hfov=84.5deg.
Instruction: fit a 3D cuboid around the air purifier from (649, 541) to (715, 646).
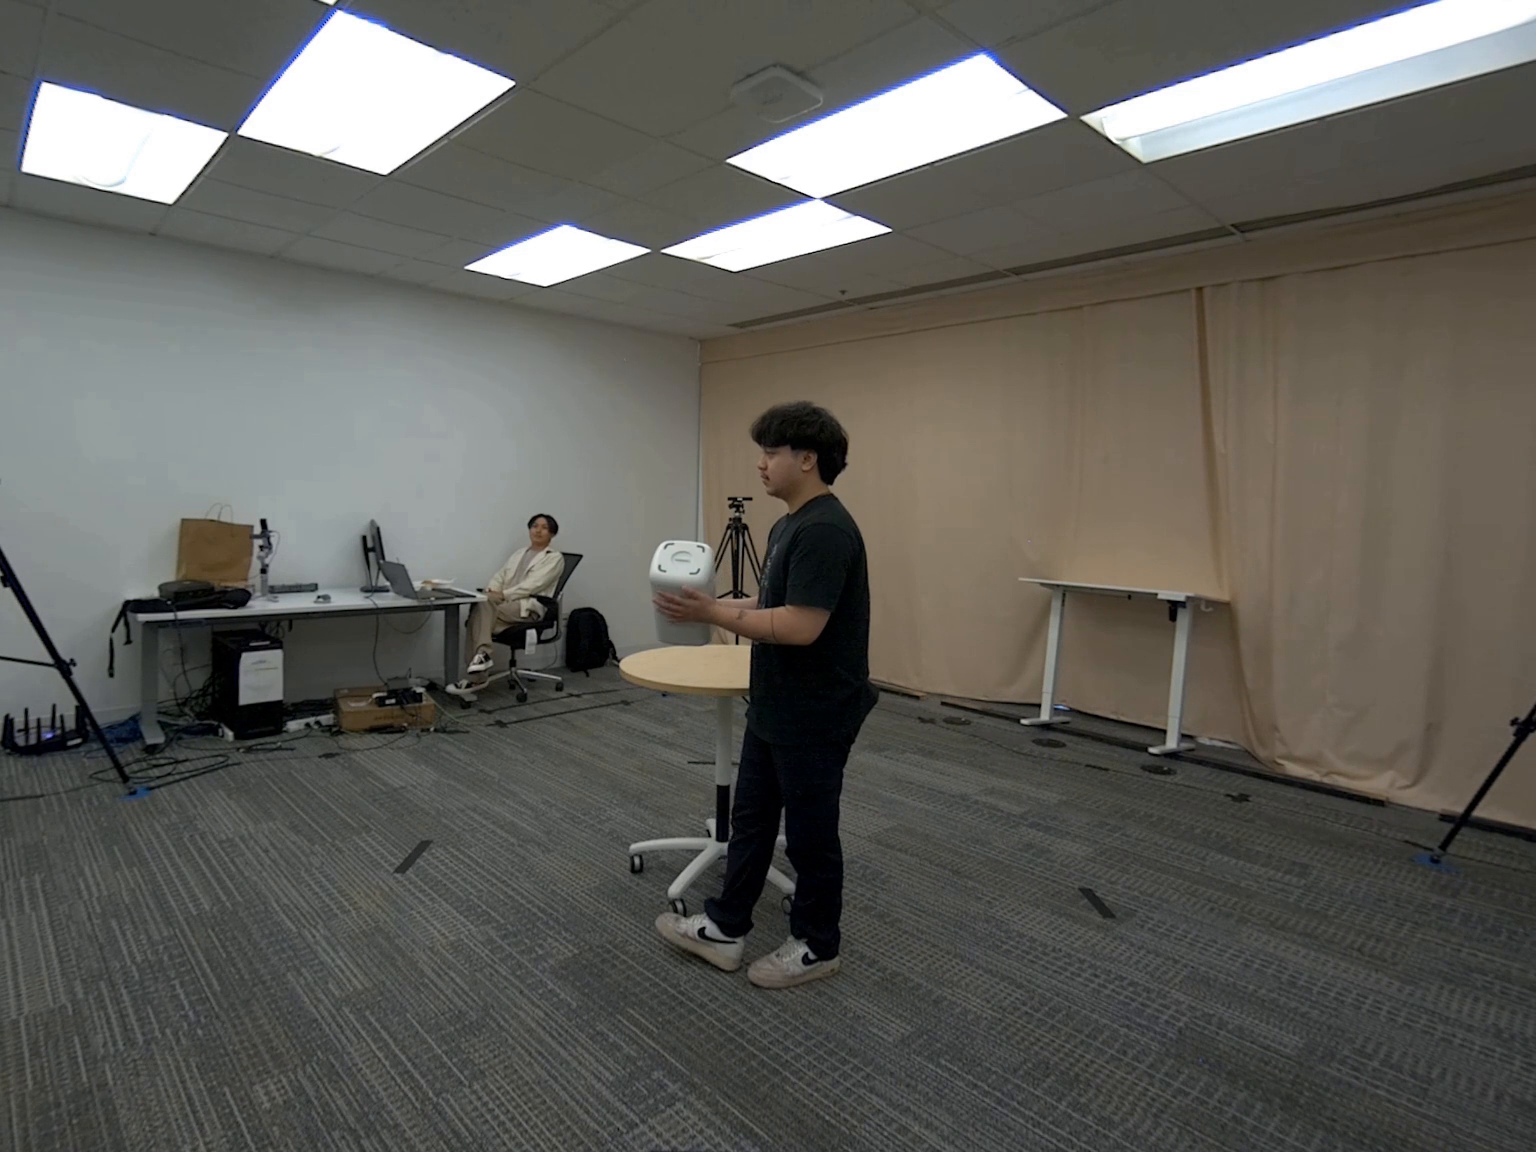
[{"bbox_3d":[-0.236,0.043,2.372,0.172,0.260,0.174,5,41,4],"label":"air purifier"}]
